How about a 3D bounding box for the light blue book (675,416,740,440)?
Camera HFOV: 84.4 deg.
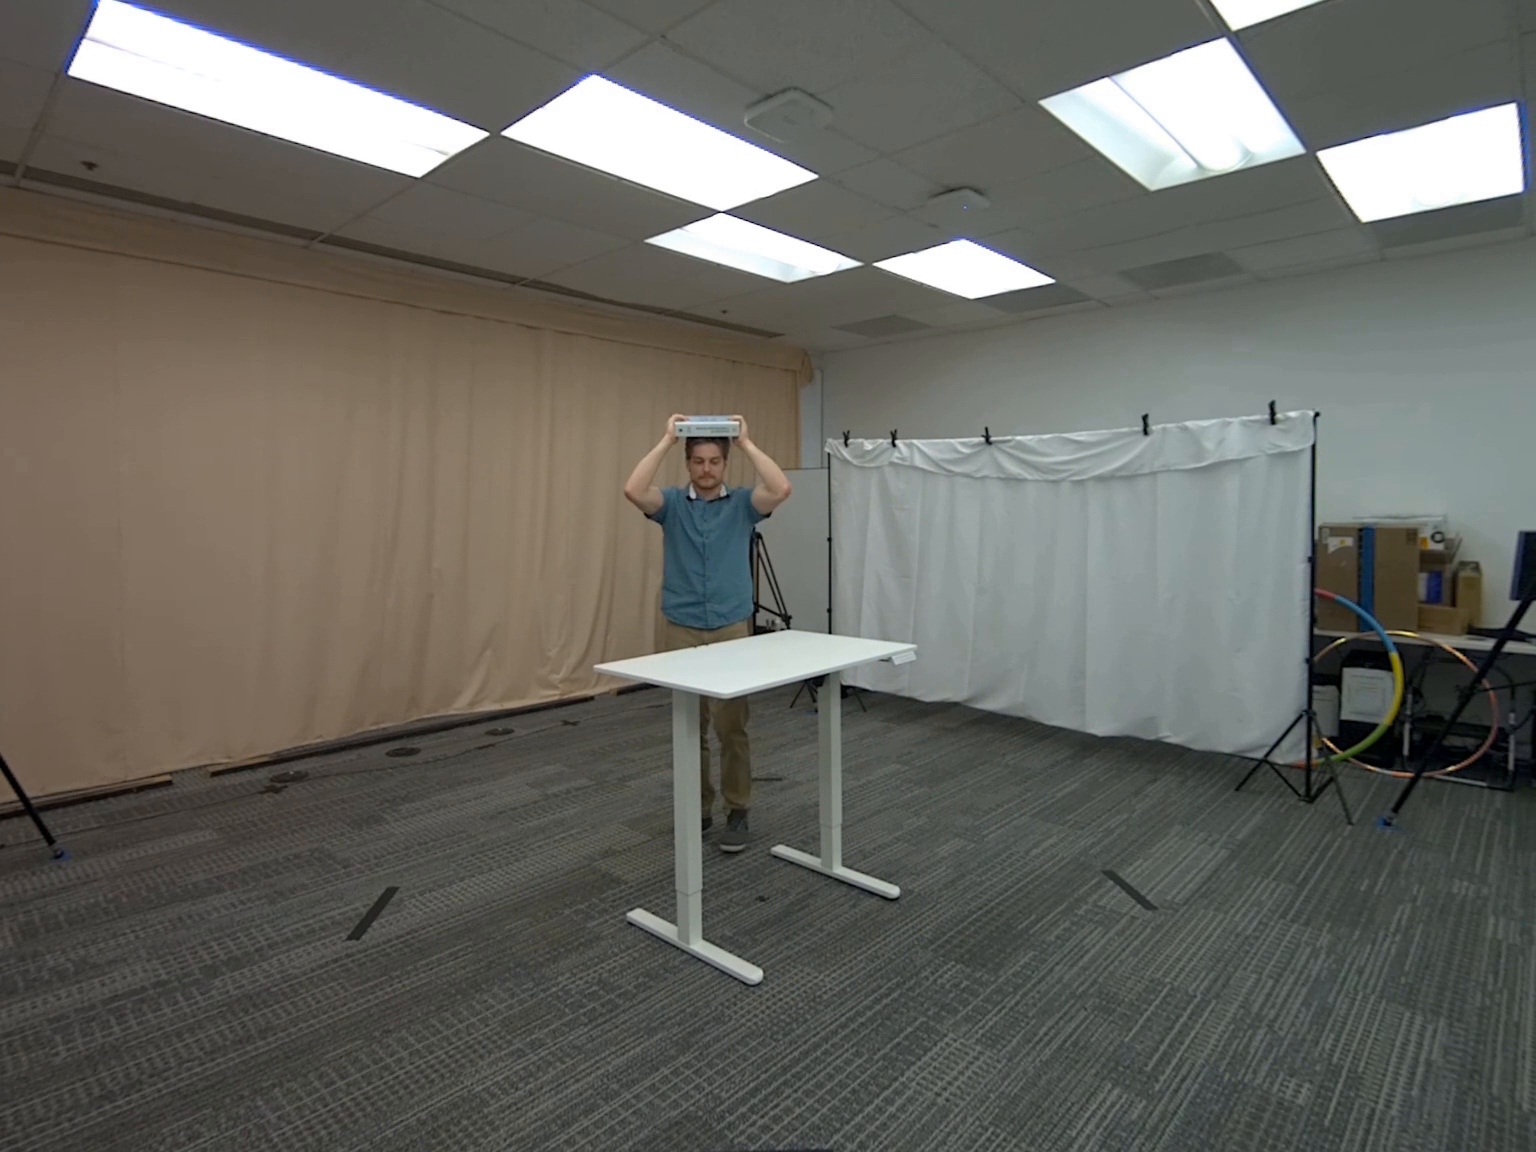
[{"bbox_3d":[-0.241,-0.615,3.454,0.261,0.058,0.193,-2,18,-1],"label":"light blue book"}]
